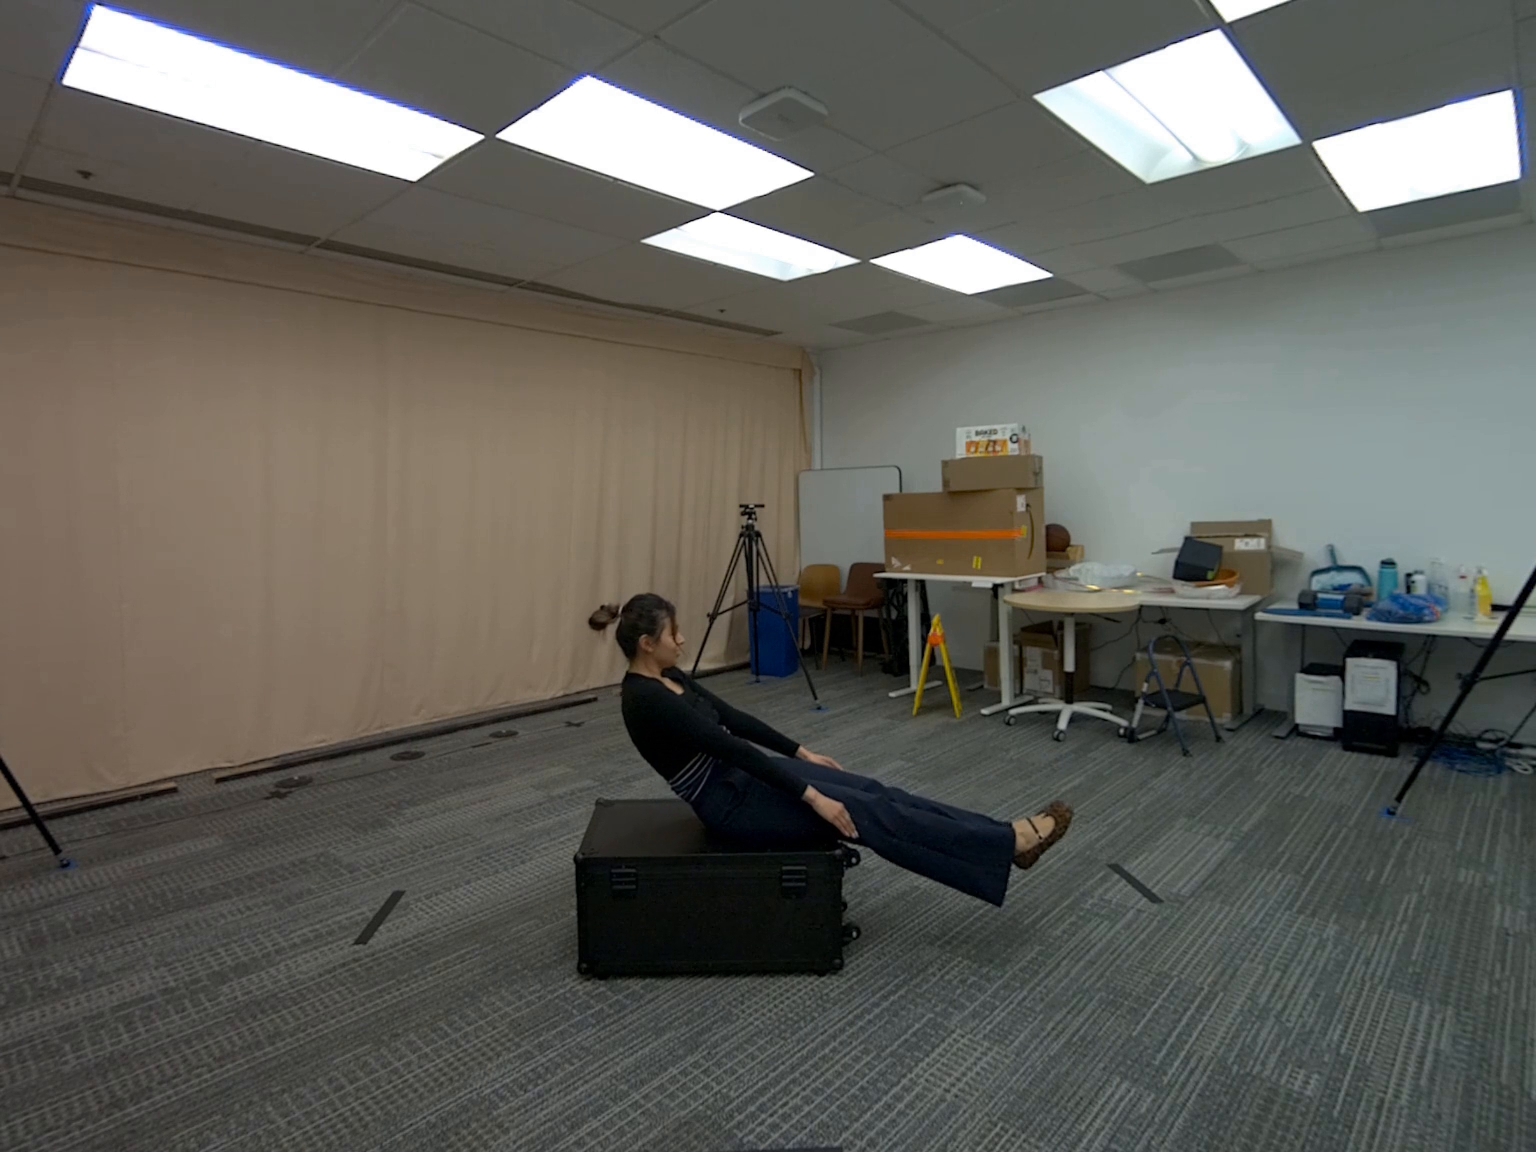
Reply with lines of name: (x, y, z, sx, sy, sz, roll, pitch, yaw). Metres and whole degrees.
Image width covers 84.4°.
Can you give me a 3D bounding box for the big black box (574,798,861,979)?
big black box: (-0.153, 0.971, 2.699, 0.861, 0.395, 0.523, -1, 4, -1)
